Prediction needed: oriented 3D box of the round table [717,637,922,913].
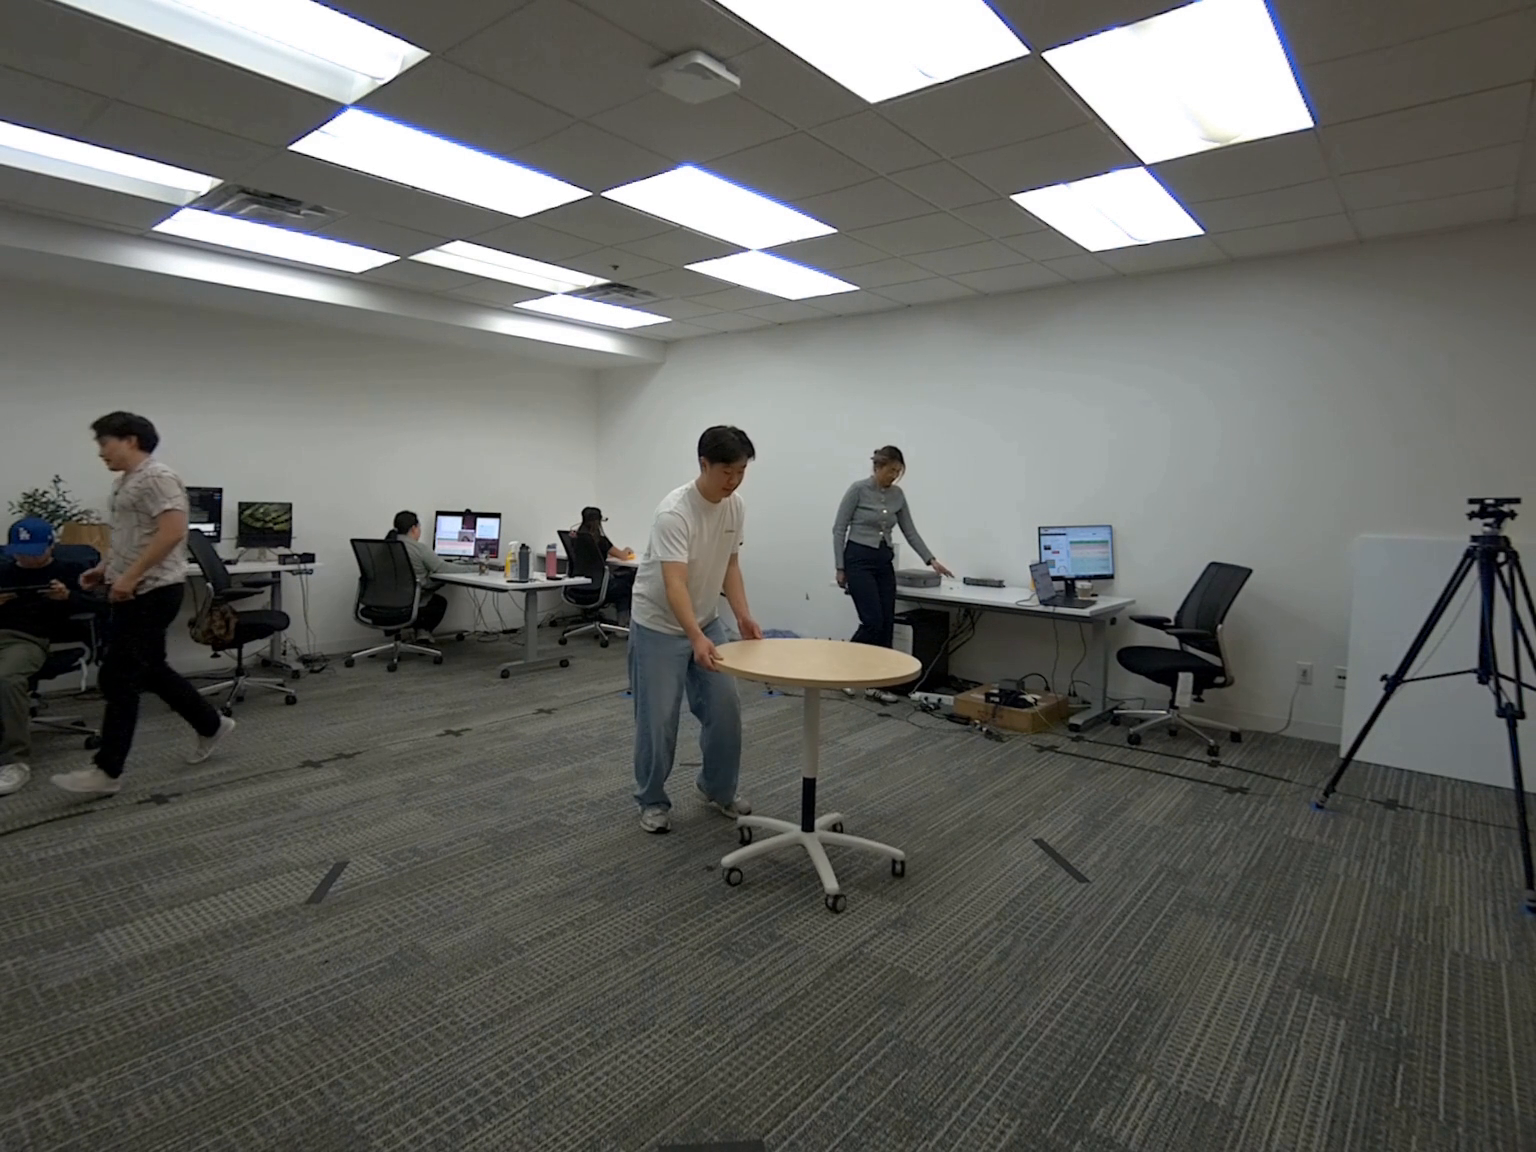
[{"bbox_3d":[0.155,0.681,3.113,0.784,0.783,0.789,1,5,-2],"label":"round table"}]
